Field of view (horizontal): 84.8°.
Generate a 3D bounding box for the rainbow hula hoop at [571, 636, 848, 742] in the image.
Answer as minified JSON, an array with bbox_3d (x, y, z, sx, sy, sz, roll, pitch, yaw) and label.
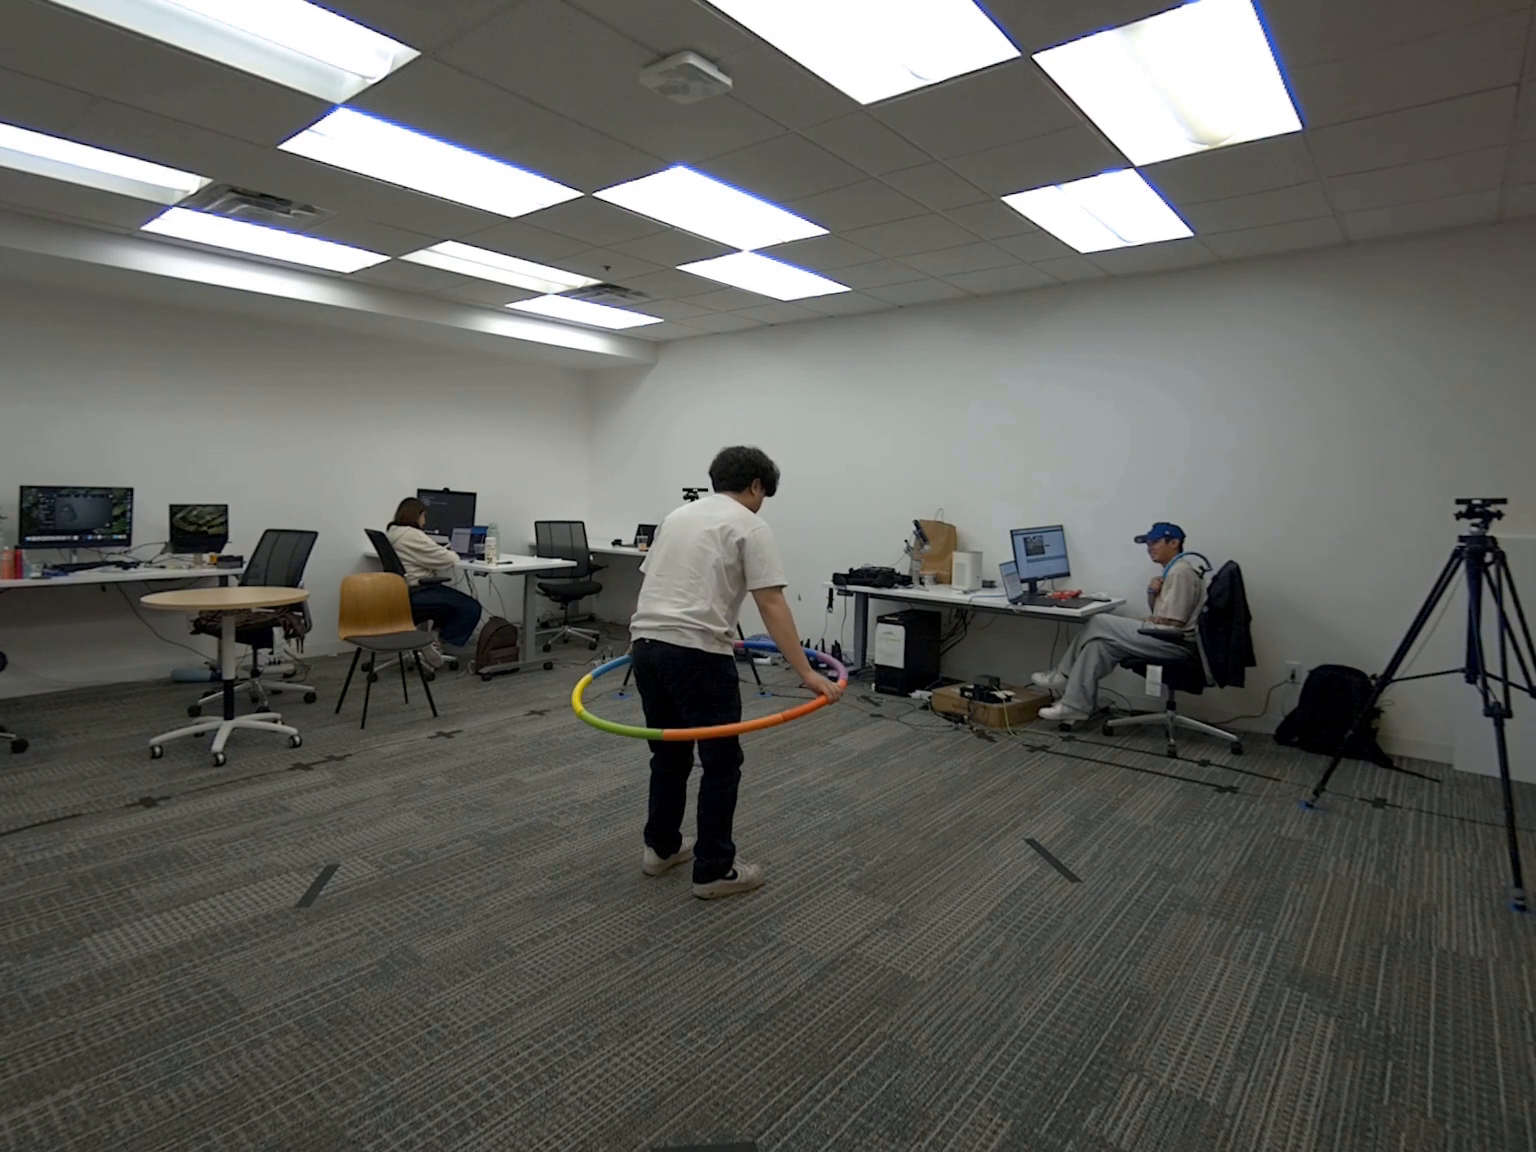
[{"bbox_3d":[-0.219,0.378,3.047,0.985,0.051,0.996,-5,12,-1],"label":"rainbow hula hoop"}]
